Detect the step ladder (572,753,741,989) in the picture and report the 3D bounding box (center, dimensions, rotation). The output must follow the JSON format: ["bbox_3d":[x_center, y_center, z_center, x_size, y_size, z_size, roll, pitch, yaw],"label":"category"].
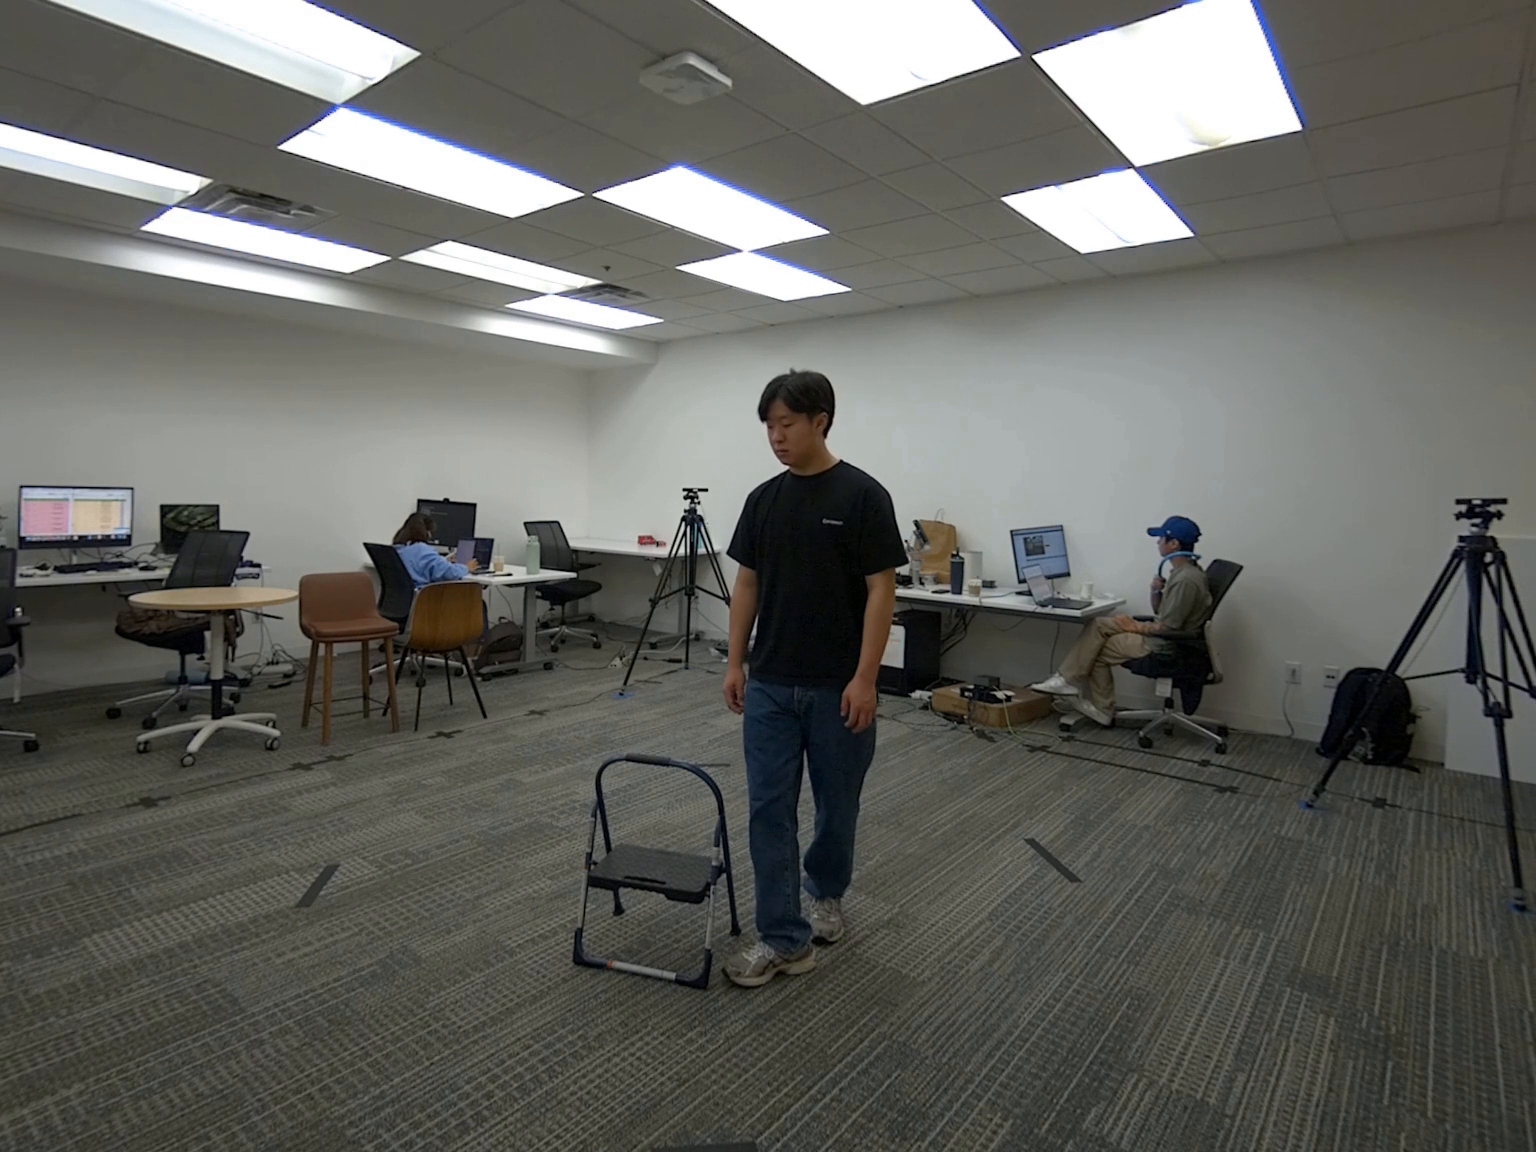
[{"bbox_3d":[-0.339,0.818,2.562,0.438,0.605,0.344,2,3,14],"label":"step ladder"}]
